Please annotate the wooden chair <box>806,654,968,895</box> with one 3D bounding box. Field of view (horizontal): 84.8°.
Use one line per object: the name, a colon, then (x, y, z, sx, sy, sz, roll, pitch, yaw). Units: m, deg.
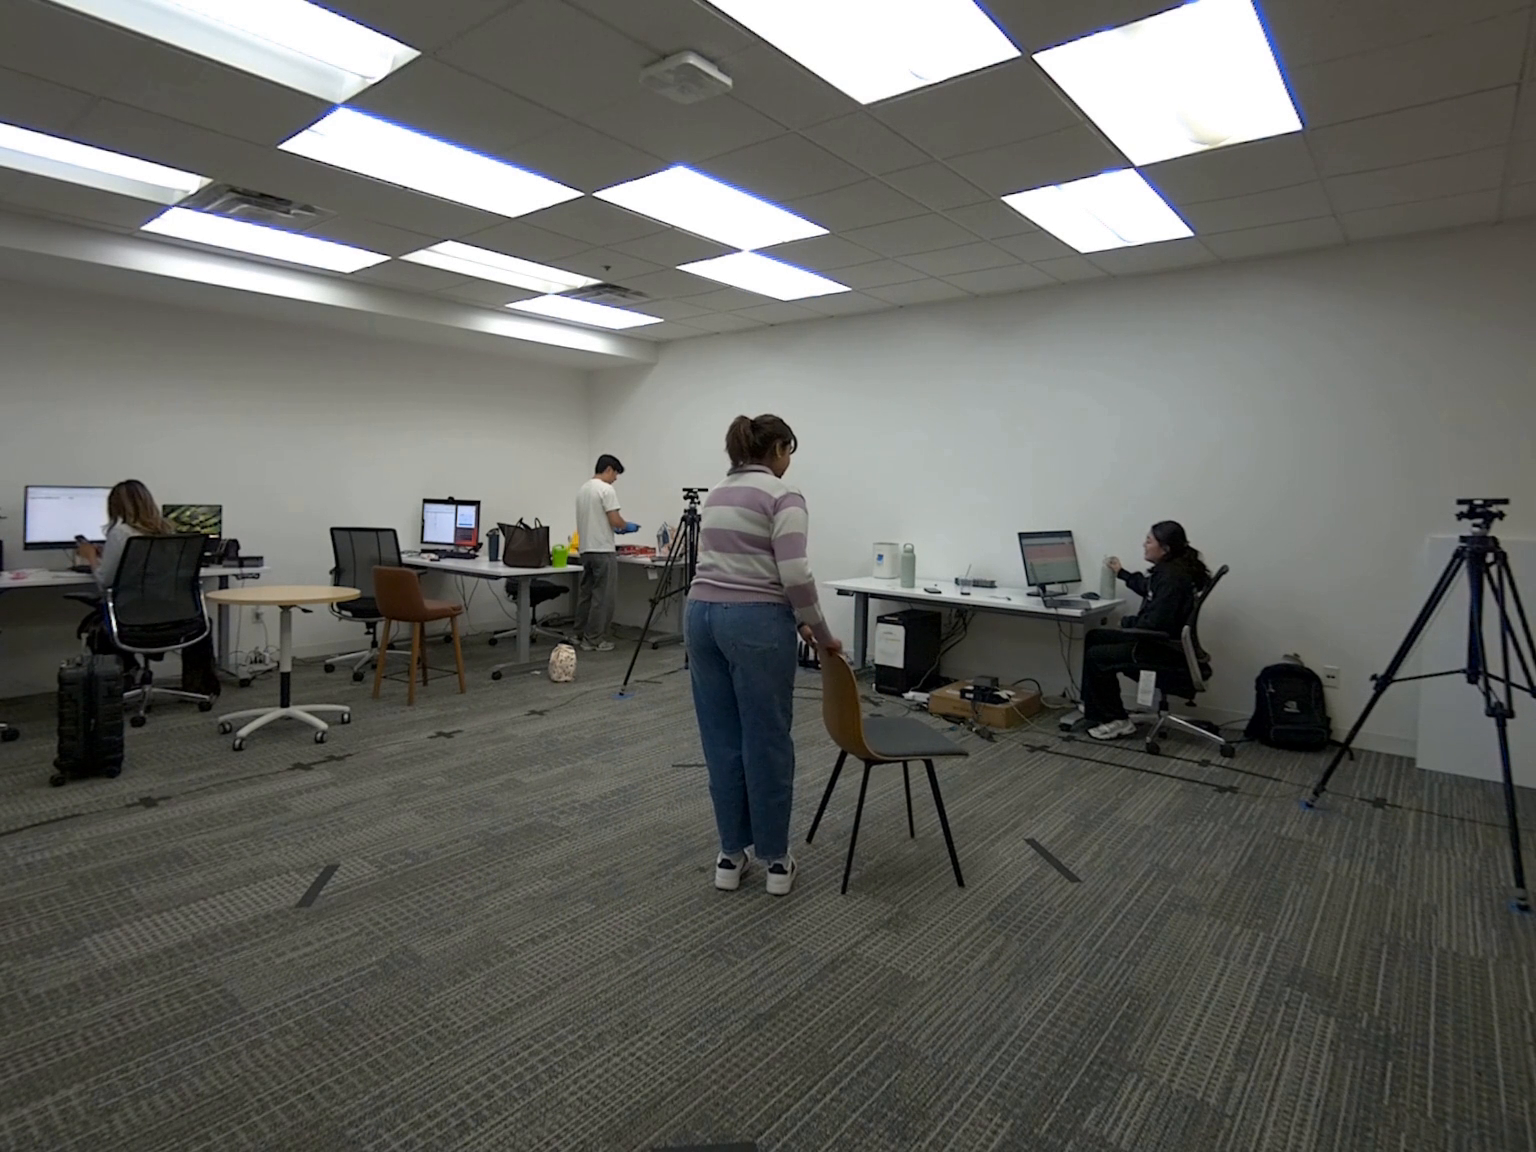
wooden chair: (0.436, 0.645, 3.174, 0.517, 0.874, 0.485, -4, 4, -11)
